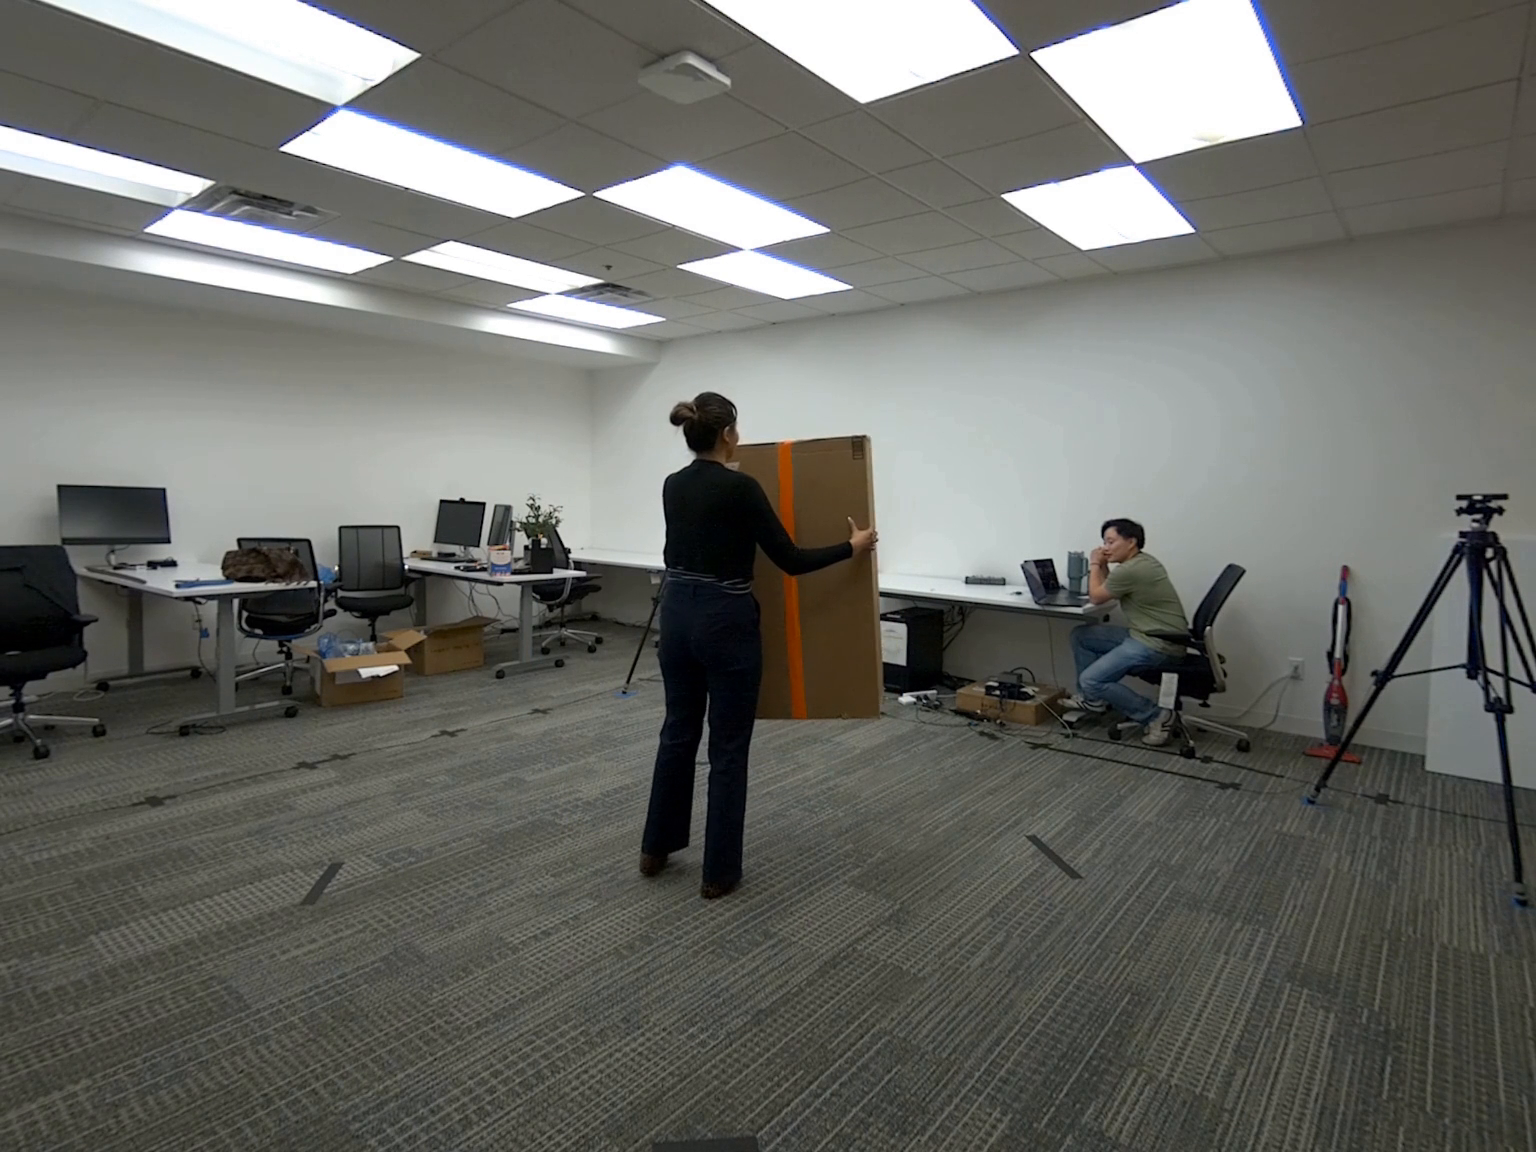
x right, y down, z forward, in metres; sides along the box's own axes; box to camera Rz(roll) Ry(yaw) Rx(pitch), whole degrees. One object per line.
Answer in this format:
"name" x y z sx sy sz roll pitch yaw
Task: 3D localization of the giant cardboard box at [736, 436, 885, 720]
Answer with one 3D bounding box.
"giant cardboard box" 0.111 -0.010 3.298 0.585 1.021 0.423 -2 5 12
